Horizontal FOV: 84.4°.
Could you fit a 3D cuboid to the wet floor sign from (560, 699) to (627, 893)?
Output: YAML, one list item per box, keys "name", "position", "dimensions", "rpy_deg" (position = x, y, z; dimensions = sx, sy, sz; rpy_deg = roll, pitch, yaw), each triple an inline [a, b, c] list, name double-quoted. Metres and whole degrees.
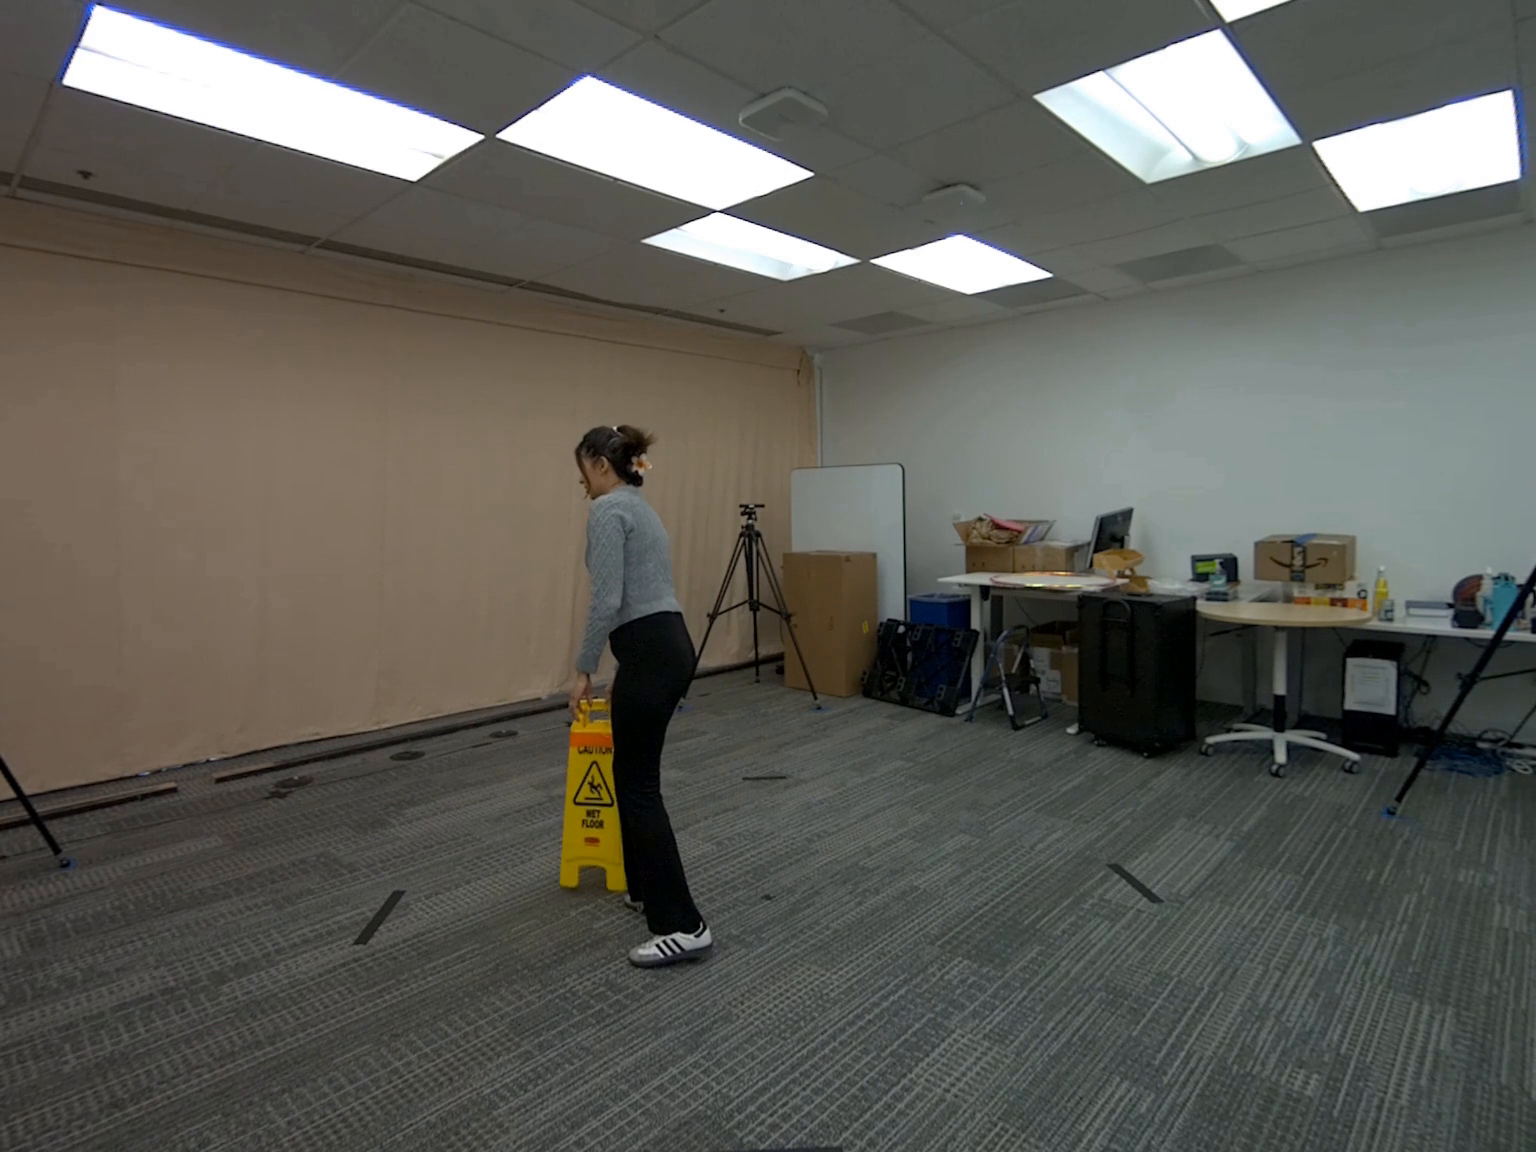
- name: "wet floor sign"
  position: [-0.608, 0.792, 3.144]
  dimensions: [0.289, 0.646, 0.283]
  rpy_deg: [-5, -1, 23]
